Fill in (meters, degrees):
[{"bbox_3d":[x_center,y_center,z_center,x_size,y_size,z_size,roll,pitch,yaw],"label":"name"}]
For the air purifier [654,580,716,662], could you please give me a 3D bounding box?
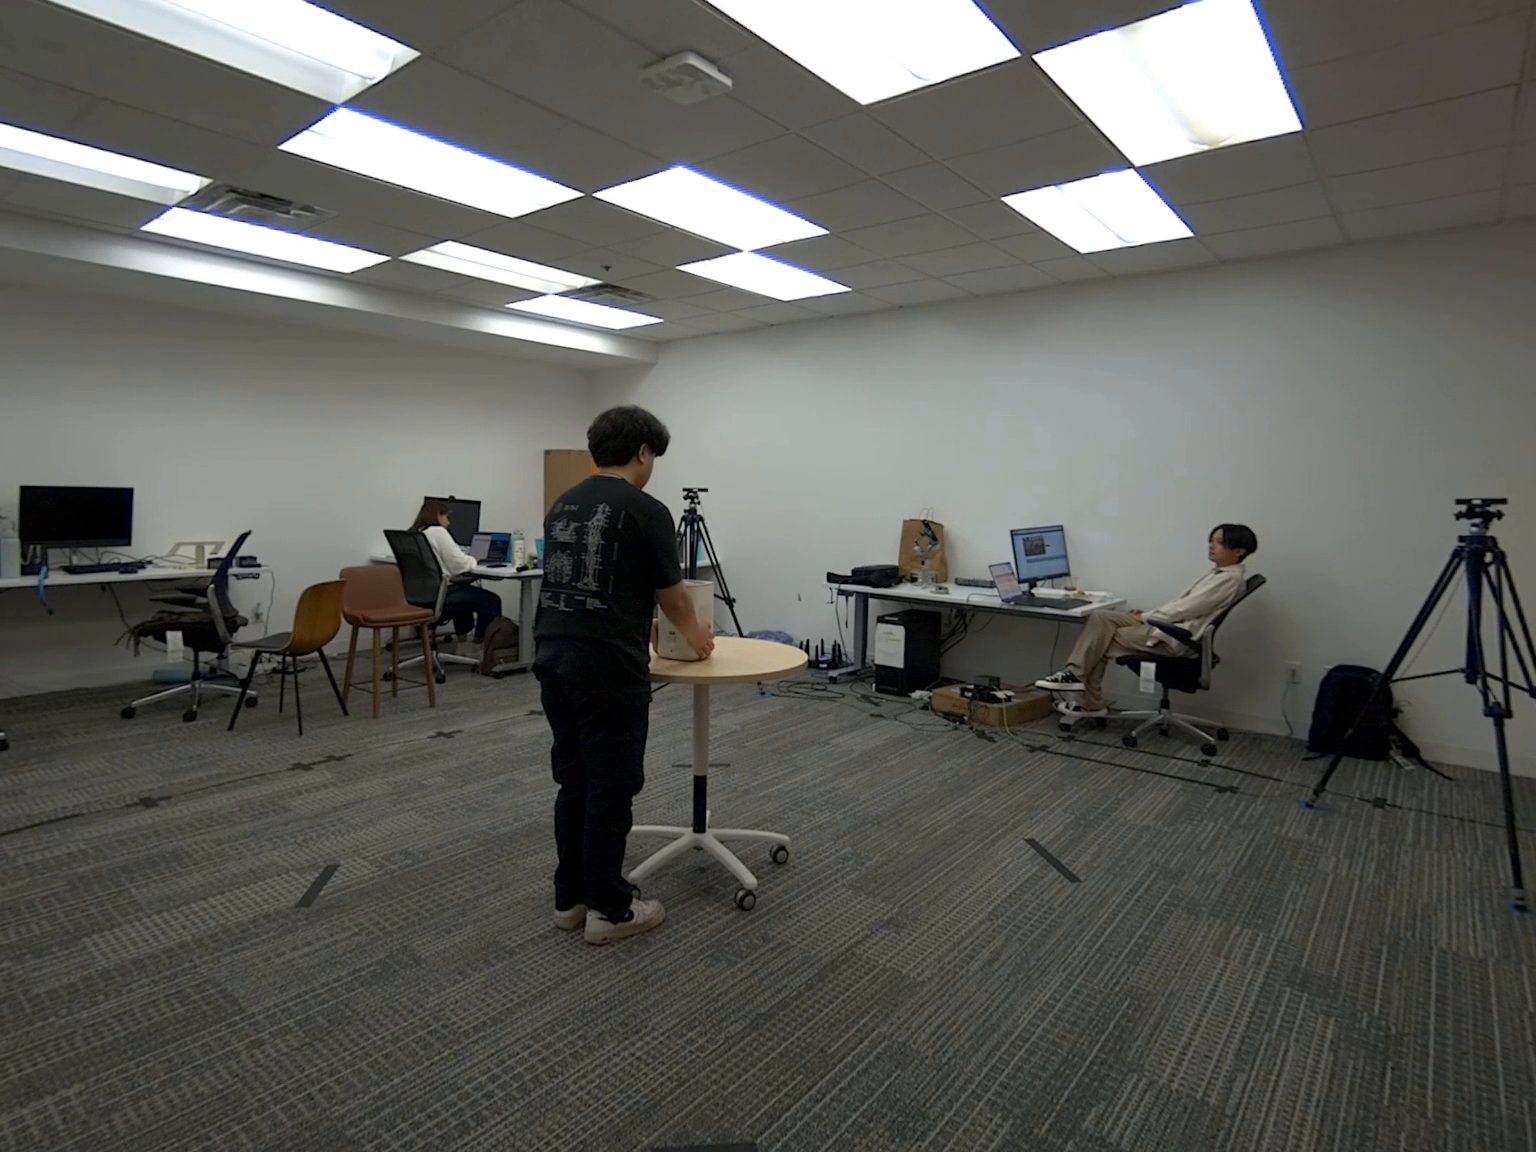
[{"bbox_3d":[-0.302,0.151,3.012,0.176,0.265,0.167,2,3,27],"label":"air purifier"}]
